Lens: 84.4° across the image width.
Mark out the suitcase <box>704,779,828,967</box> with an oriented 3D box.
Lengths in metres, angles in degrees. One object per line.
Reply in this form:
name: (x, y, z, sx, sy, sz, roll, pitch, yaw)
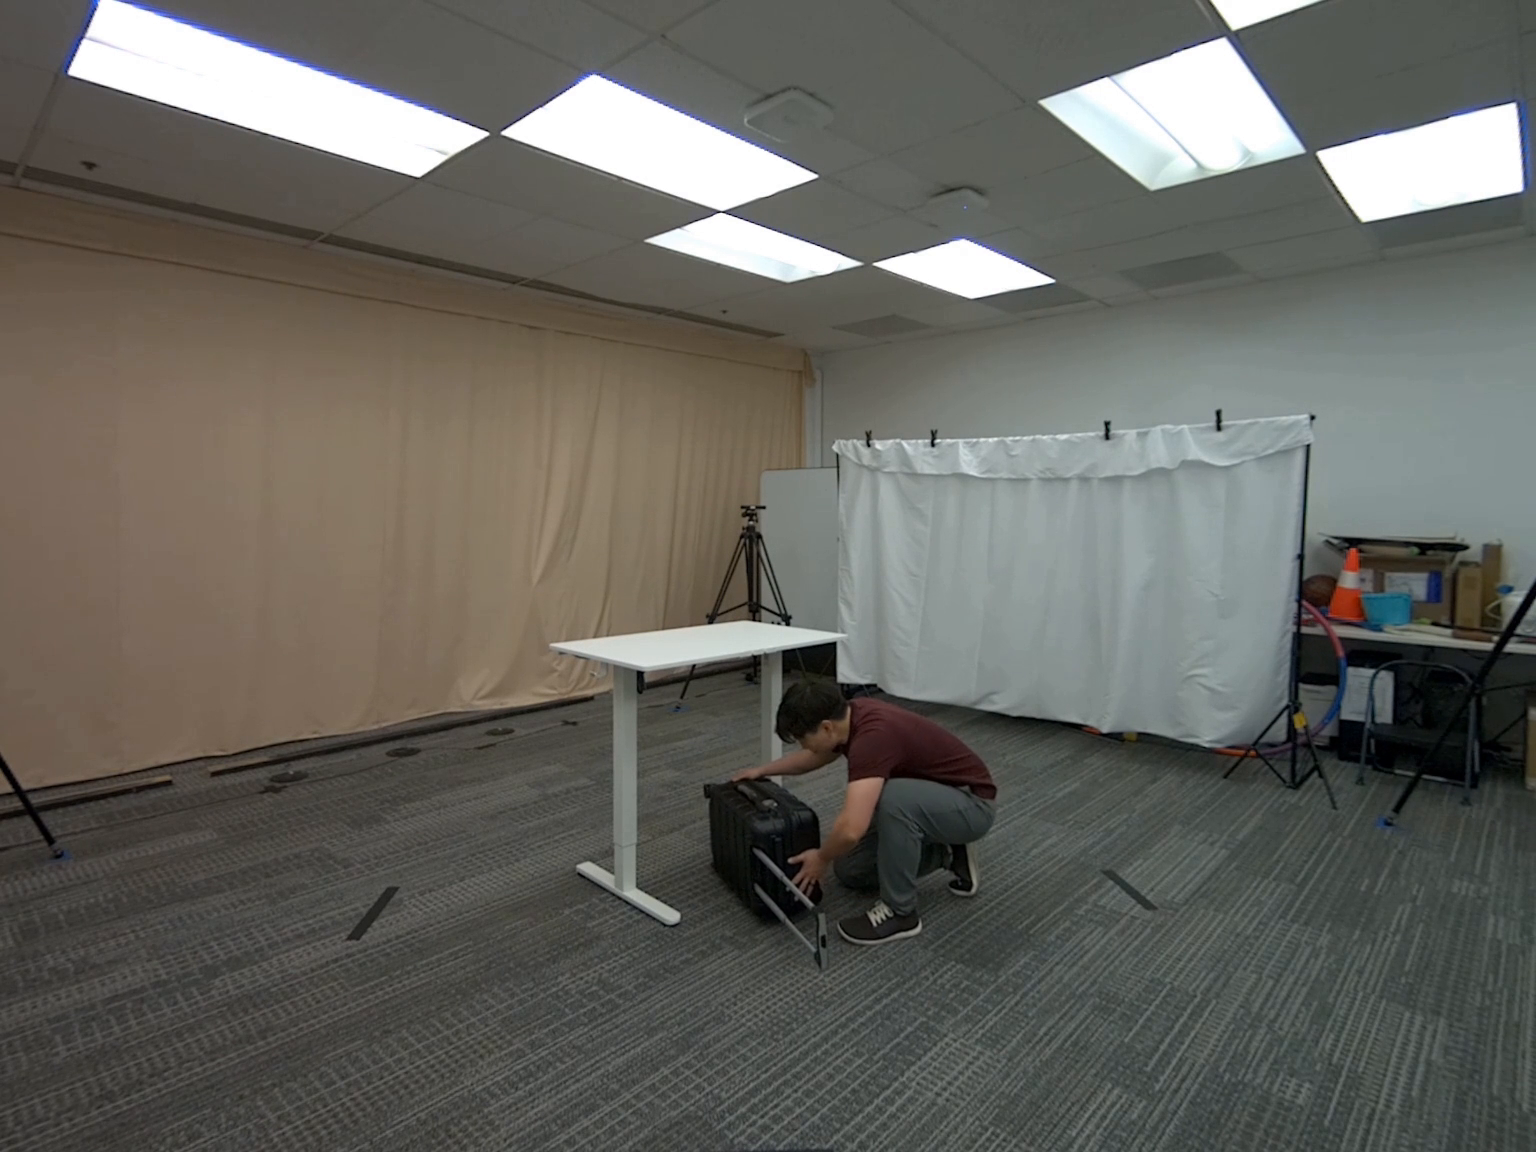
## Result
suitcase: (0.066, 0.956, 2.819, 0.252, 0.383, 1.001, -6, 4, -23)
